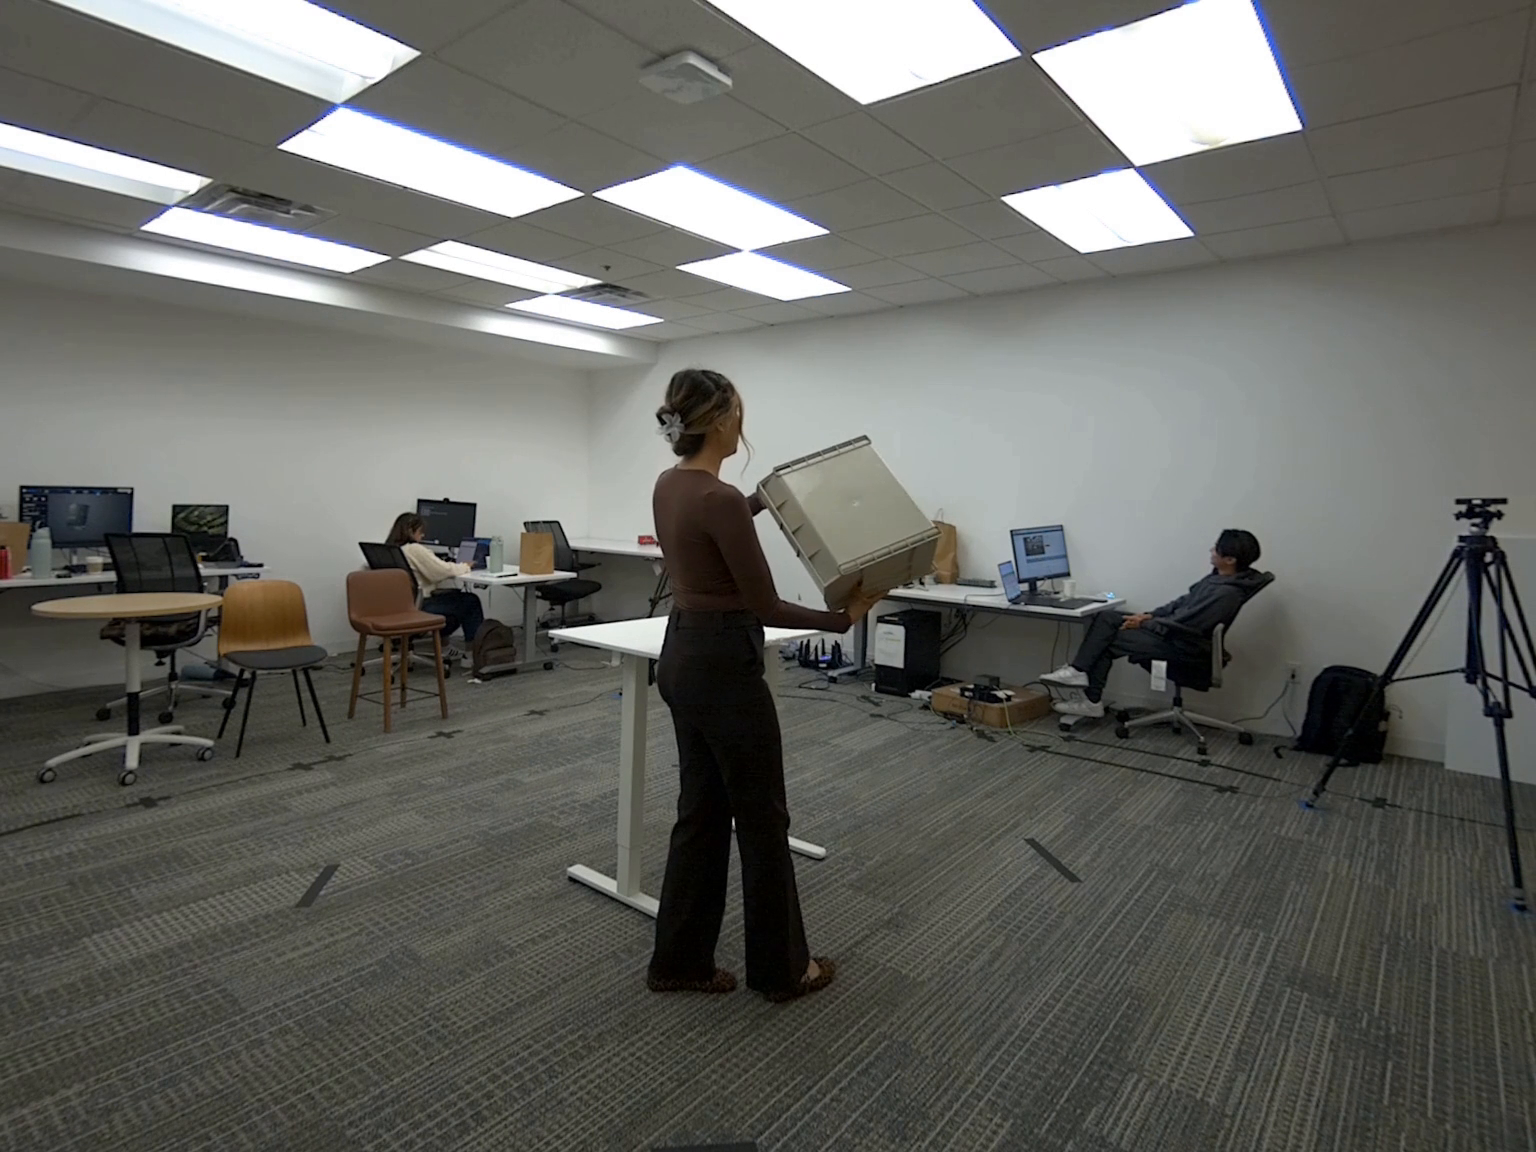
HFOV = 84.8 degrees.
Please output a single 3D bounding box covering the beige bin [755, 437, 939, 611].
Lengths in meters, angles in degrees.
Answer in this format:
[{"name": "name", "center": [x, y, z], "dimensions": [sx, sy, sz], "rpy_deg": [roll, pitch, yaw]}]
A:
[{"name": "beige bin", "center": [0.218, -0.155, 2.441], "dimensions": [0.374, 0.438, 0.184], "rpy_deg": [-22, -34, -15]}]
